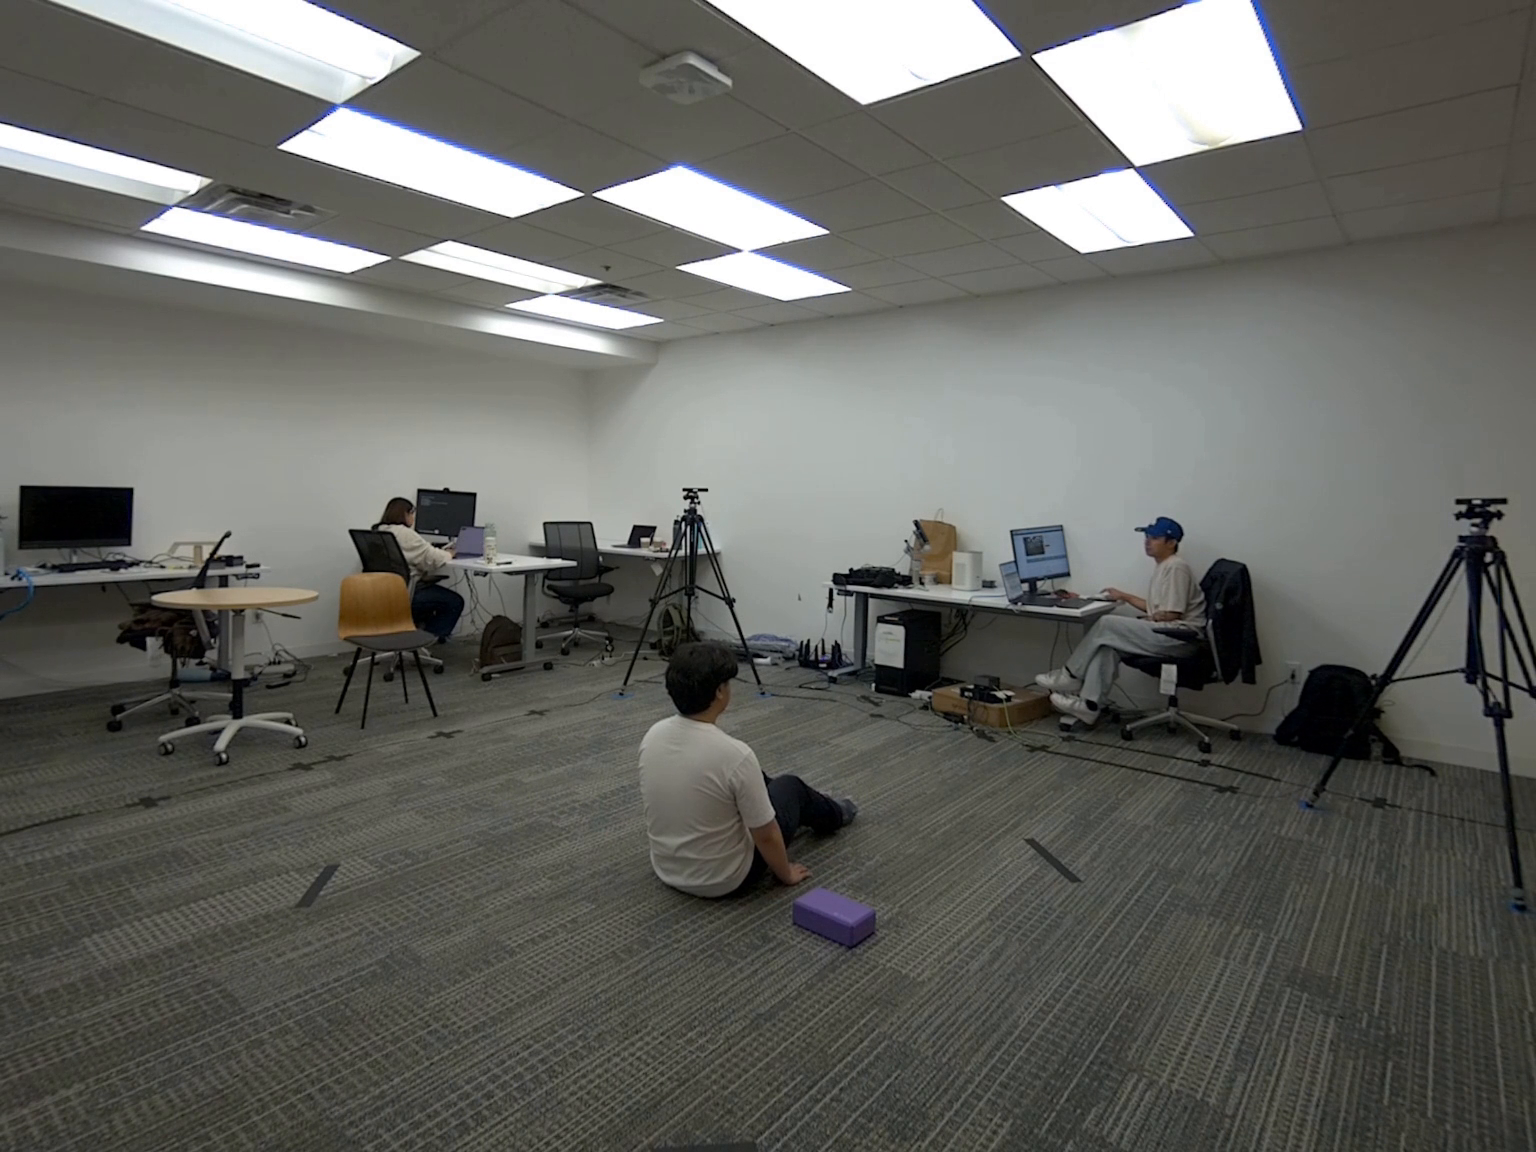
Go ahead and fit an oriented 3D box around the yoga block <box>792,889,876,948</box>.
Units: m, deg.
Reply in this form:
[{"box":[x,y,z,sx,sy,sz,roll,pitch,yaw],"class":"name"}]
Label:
[{"box":[0.201,1.077,2.710,0.237,0.076,0.144,6,6,37],"class":"yoga block"}]
